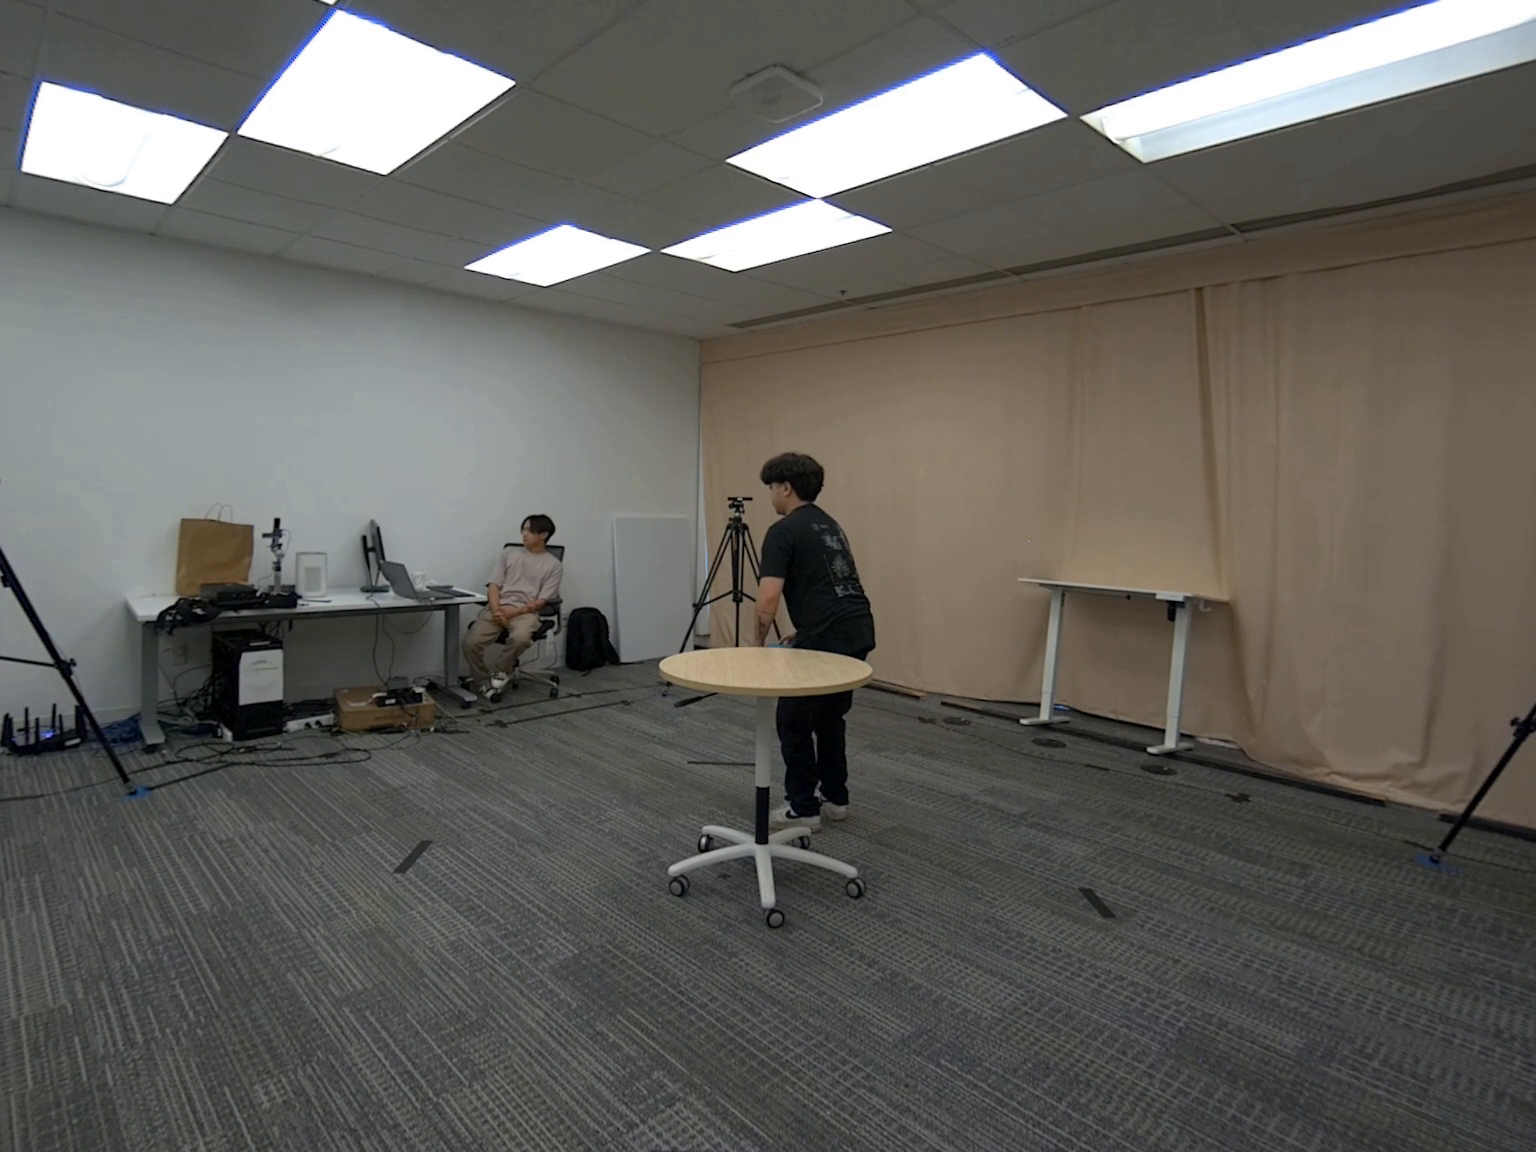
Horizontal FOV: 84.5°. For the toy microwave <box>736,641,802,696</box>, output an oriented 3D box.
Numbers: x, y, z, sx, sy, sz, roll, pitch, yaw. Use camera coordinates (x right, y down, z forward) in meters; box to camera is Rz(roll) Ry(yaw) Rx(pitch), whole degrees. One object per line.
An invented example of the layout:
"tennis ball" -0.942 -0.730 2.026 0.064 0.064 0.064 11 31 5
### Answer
"toy microwave" 0.006 0.410 3.823 0.156 0.183 0.280 5 6 35
